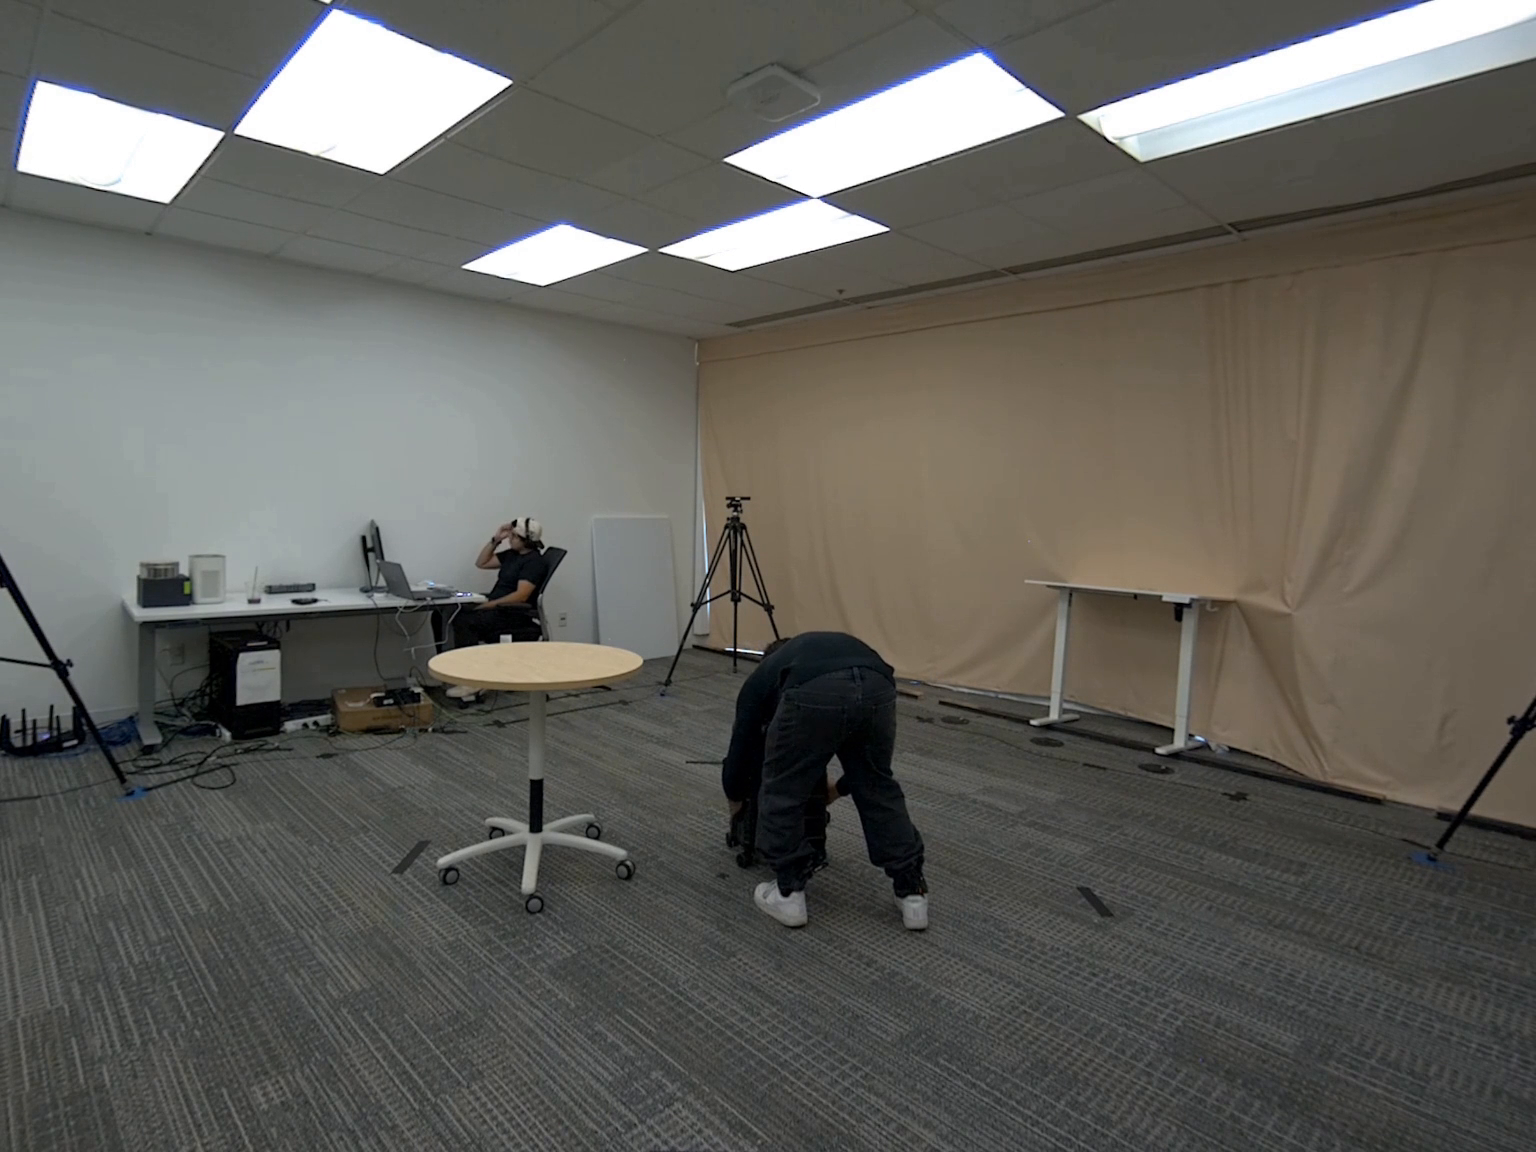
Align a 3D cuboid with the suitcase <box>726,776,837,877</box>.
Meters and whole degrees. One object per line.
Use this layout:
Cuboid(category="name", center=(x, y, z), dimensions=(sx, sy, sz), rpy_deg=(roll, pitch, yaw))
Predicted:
Cuboid(category="suitcase", center=(0.036, 0.824, 3.289), dimensions=(0.371, 0.549, 0.251), rpy_deg=(1, 2, -15))
